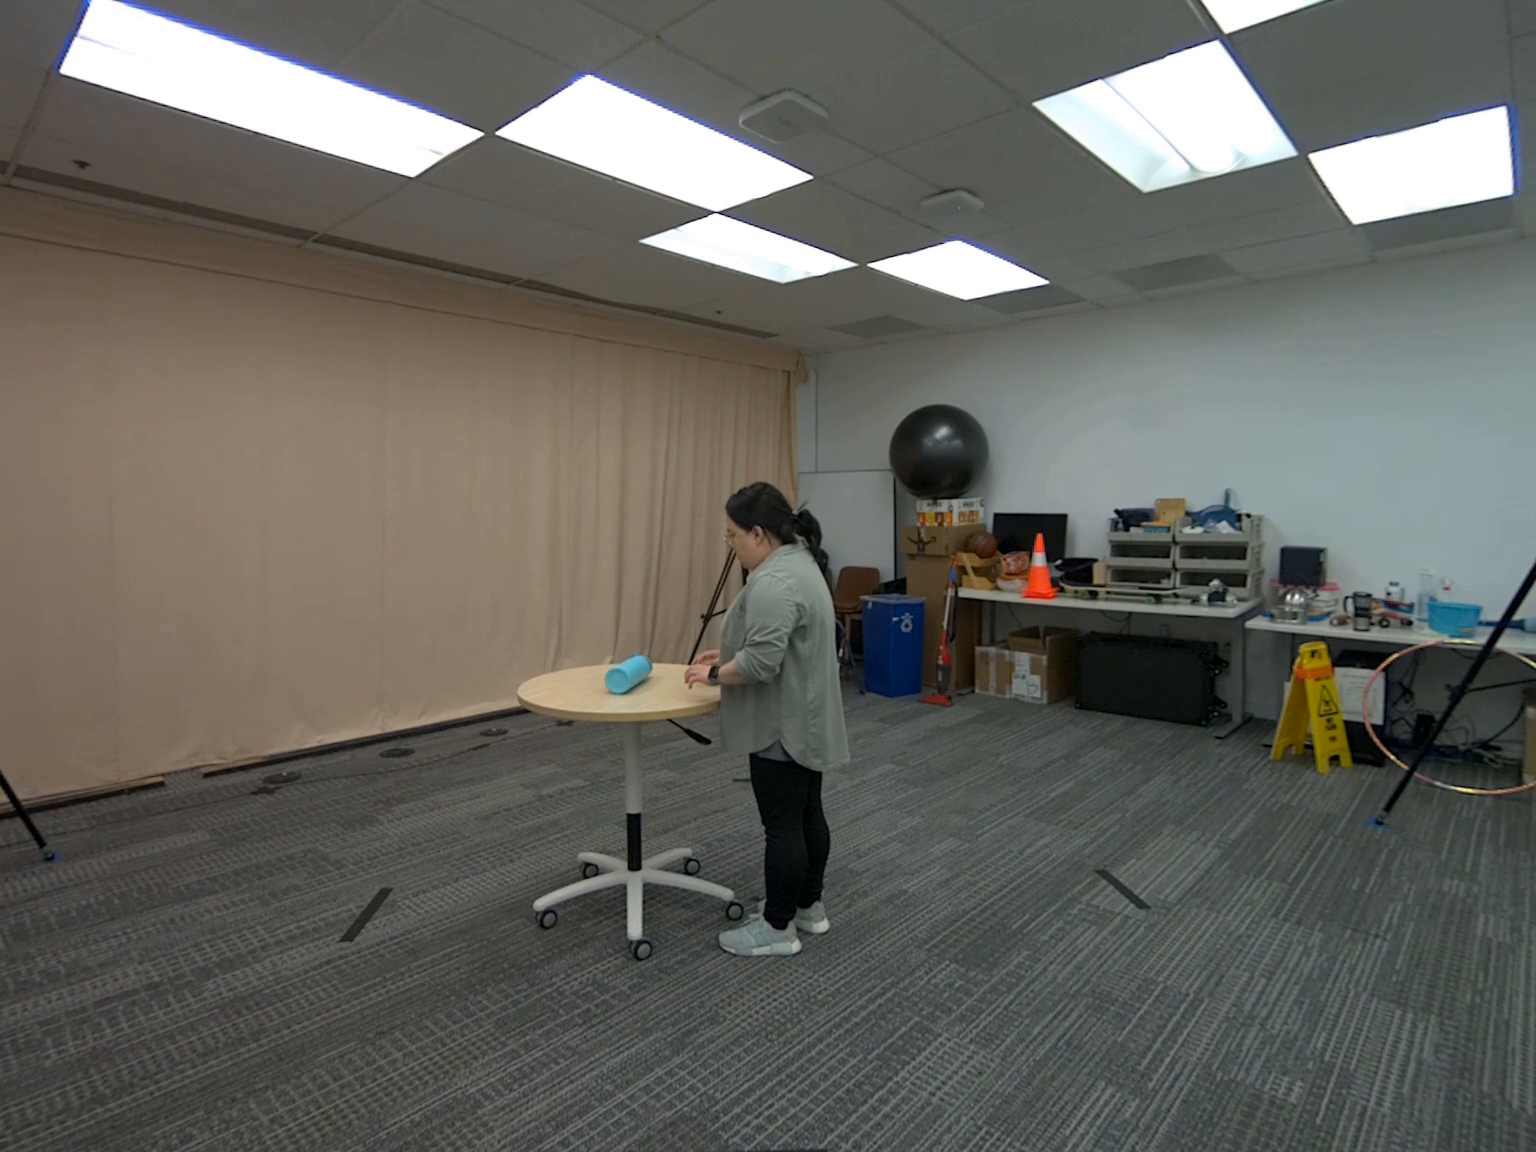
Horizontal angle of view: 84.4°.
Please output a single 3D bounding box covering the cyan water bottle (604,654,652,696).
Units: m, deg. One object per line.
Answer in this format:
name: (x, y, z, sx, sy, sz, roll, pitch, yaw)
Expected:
cyan water bottle: (-0.463, 0.332, 2.864, 0.093, 0.092, 0.281, 1, 5, 9)
